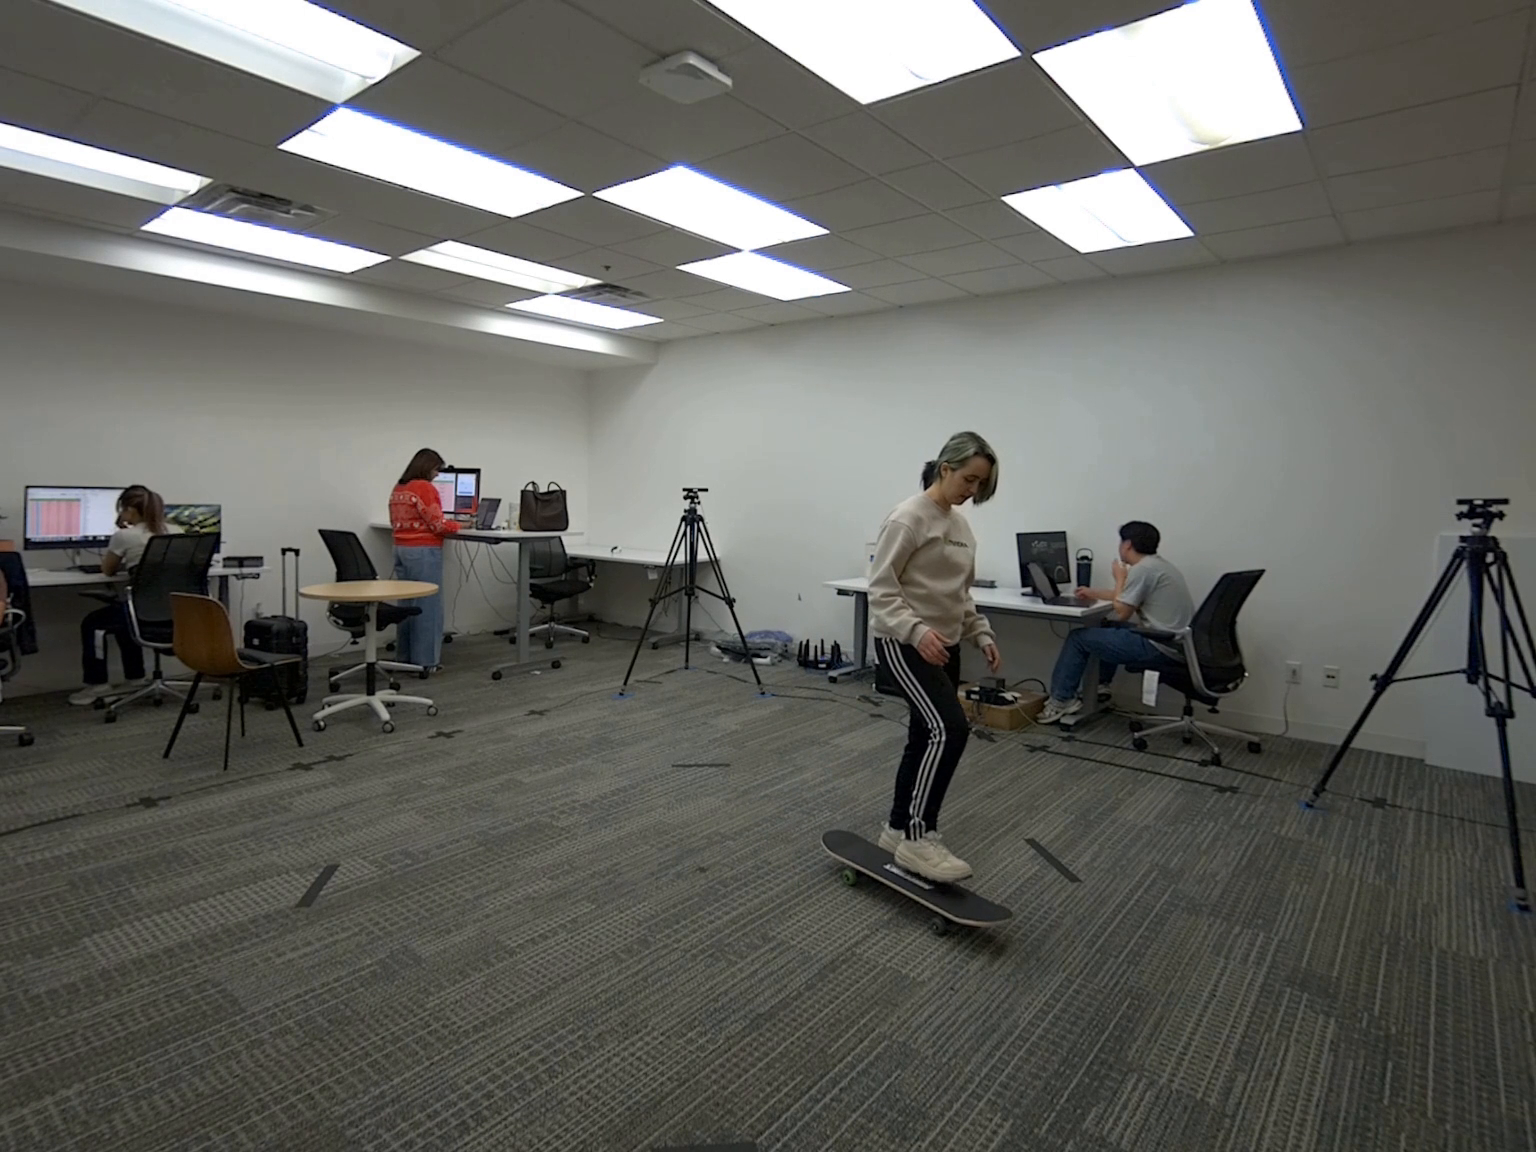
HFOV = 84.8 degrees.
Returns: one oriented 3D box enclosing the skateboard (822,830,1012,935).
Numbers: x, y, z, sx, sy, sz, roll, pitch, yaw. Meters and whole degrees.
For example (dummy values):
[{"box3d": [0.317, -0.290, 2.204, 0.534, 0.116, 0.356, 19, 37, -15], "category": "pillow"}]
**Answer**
[{"box3d": [0.464, 1.047, 2.901, 0.188, 0.110, 0.812, -1, 6, -38], "category": "skateboard"}]
